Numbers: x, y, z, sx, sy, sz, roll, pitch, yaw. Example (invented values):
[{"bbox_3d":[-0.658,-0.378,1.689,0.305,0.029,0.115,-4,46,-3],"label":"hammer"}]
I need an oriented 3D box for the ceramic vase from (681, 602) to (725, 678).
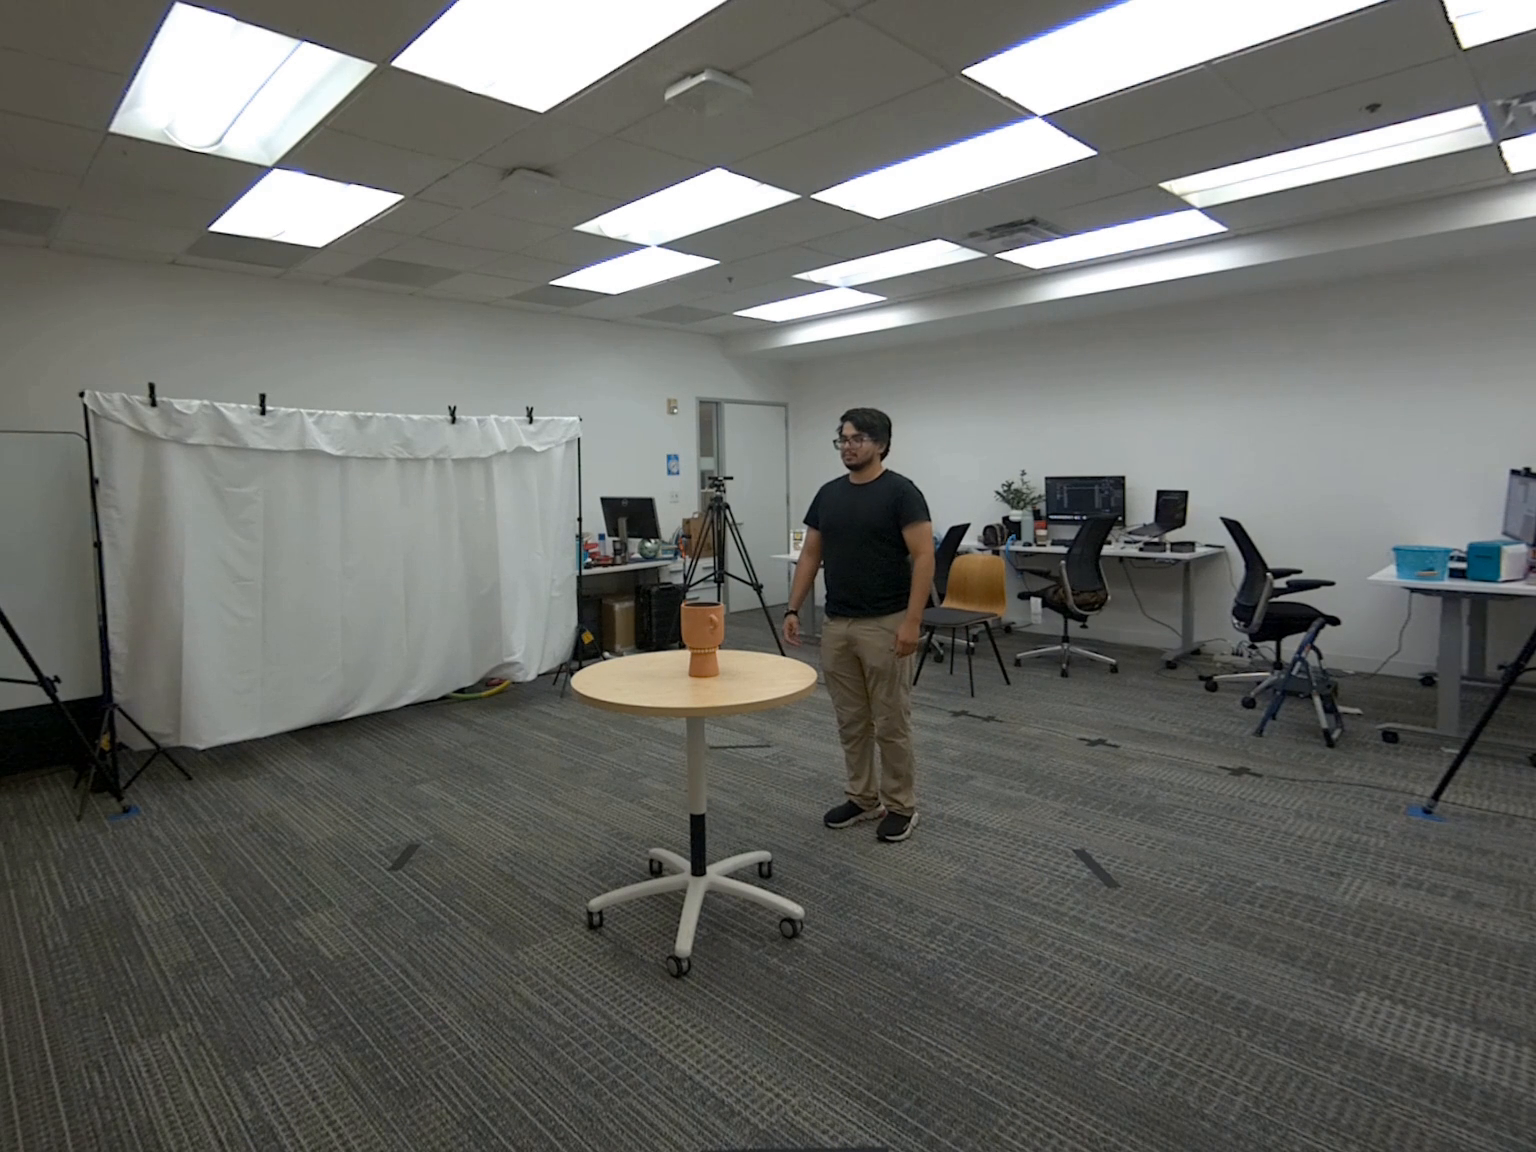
[{"bbox_3d":[-0.203,0.203,2.663,0.136,0.219,0.158,1,6,10],"label":"ceramic vase"}]
